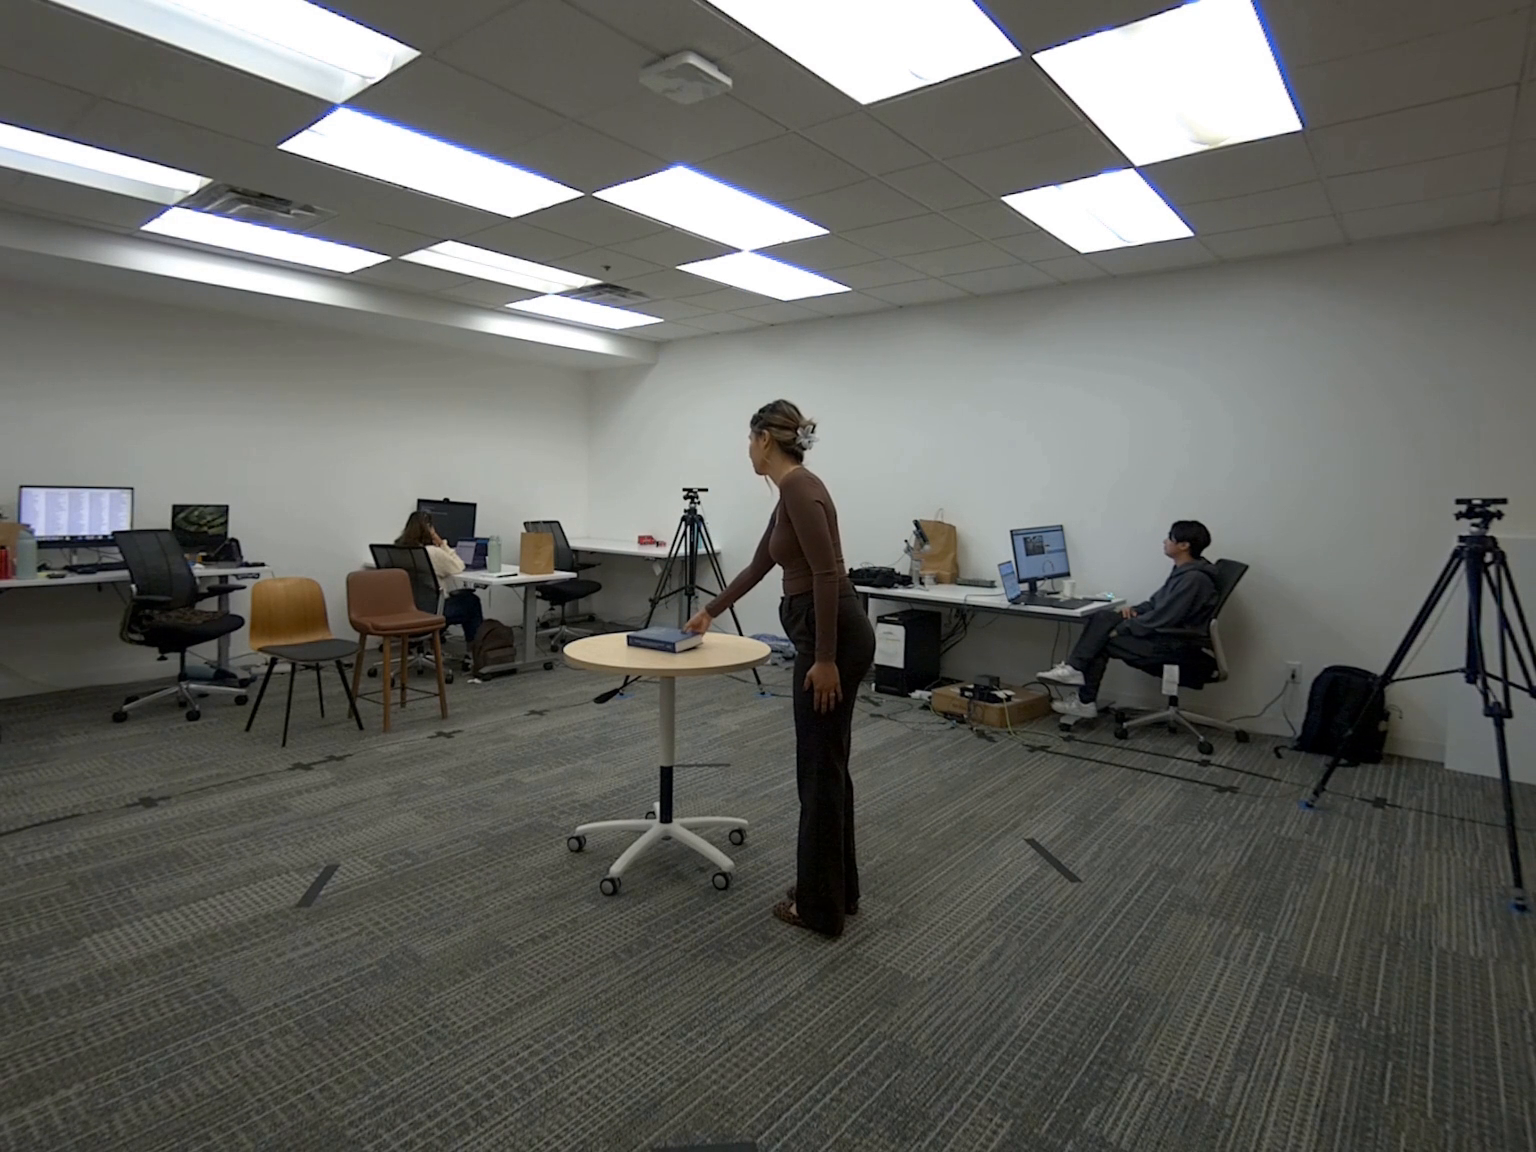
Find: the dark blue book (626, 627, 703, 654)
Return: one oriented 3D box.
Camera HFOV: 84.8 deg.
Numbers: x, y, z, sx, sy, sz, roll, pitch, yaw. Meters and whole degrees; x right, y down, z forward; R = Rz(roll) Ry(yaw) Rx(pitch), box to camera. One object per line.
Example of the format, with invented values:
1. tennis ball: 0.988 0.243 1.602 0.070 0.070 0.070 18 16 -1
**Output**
1. dark blue book: -0.404 0.237 3.180 0.253 0.045 0.159 3 10 36
